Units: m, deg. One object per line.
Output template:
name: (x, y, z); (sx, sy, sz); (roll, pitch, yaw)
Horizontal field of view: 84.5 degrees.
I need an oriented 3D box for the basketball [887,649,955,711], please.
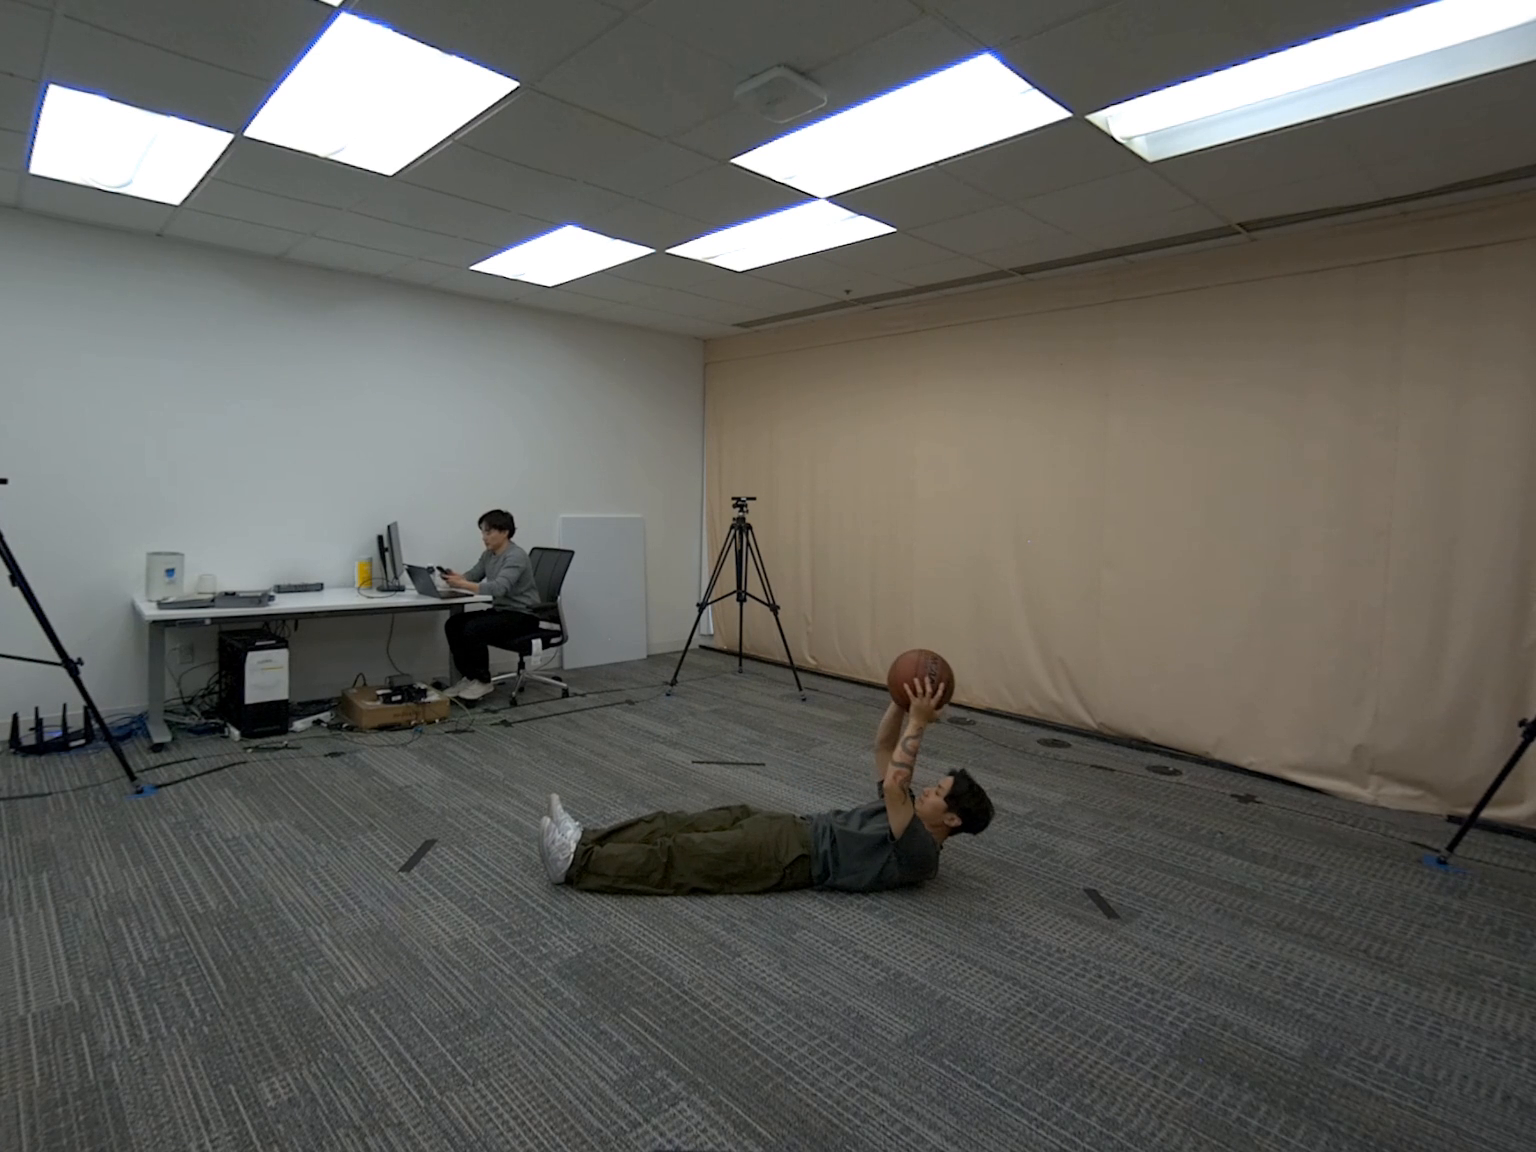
basketball: (0.544, 0.393, 3.051); (0.236, 0.235, 0.237); (1, 4, -1)
